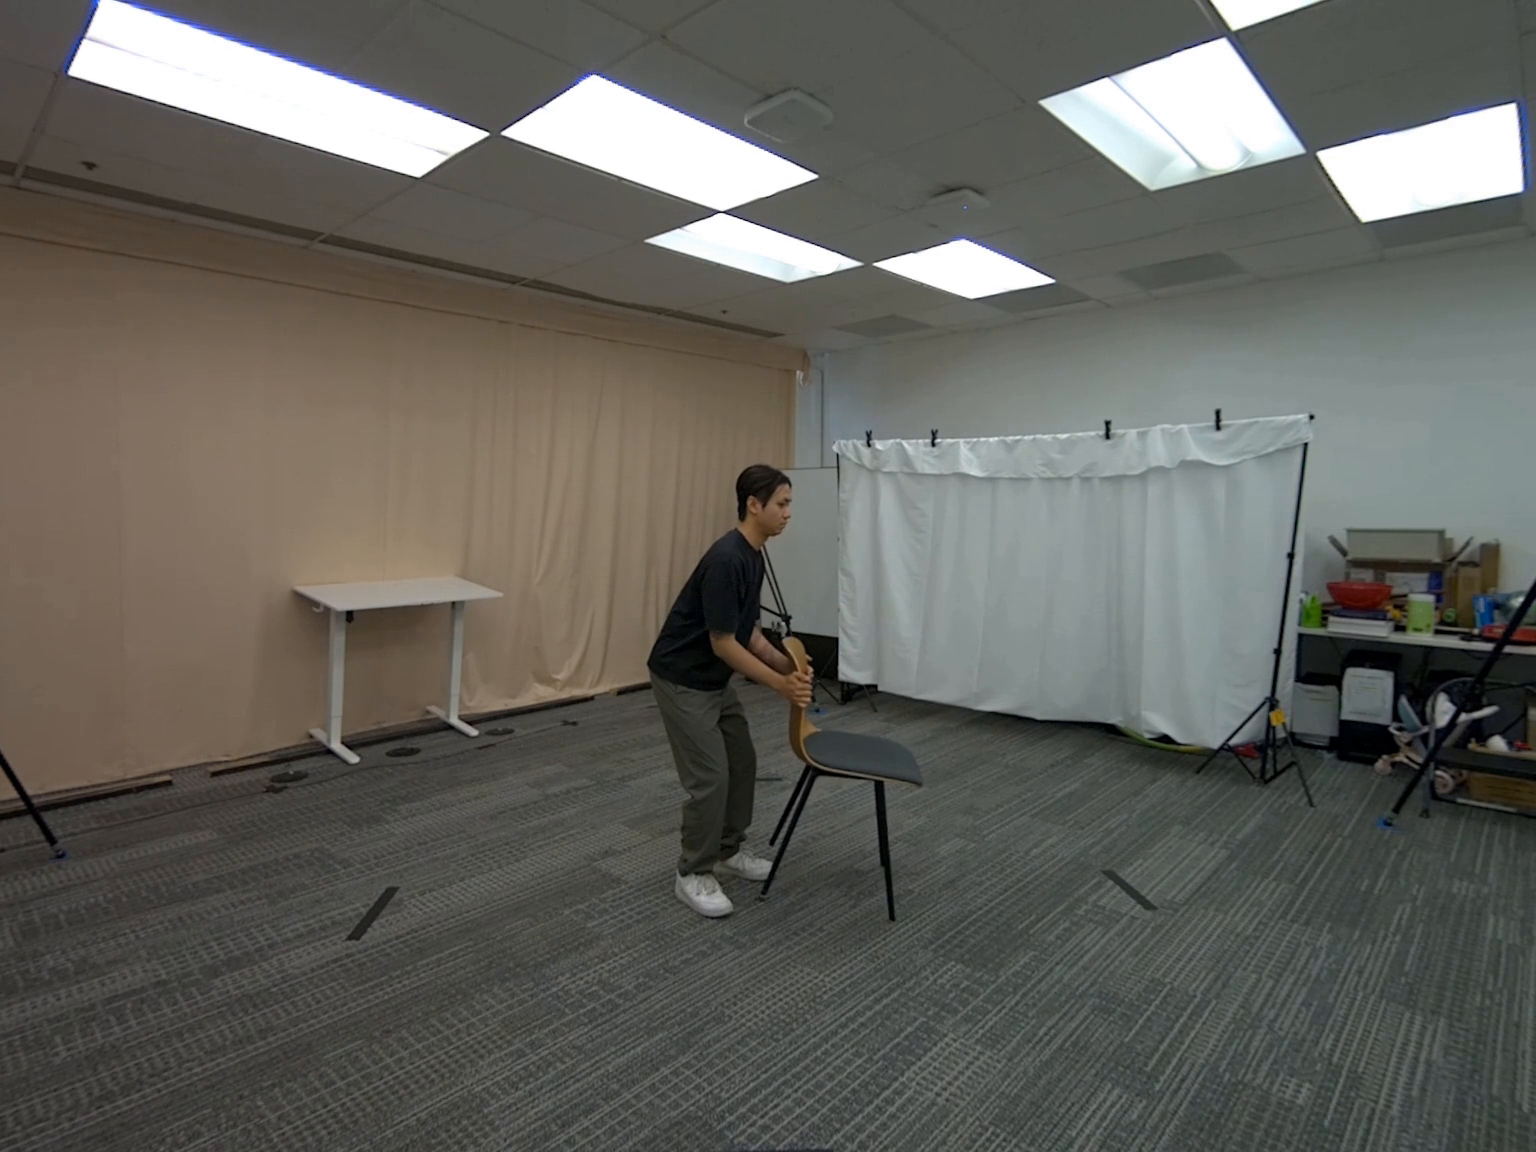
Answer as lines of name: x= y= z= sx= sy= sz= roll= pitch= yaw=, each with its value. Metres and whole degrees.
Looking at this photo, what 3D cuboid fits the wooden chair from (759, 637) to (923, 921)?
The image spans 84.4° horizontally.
wooden chair: x=0.289 y=0.688 z=3.026 sx=0.527 sy=0.876 sz=0.475 roll=4 pitch=3 yaw=5
